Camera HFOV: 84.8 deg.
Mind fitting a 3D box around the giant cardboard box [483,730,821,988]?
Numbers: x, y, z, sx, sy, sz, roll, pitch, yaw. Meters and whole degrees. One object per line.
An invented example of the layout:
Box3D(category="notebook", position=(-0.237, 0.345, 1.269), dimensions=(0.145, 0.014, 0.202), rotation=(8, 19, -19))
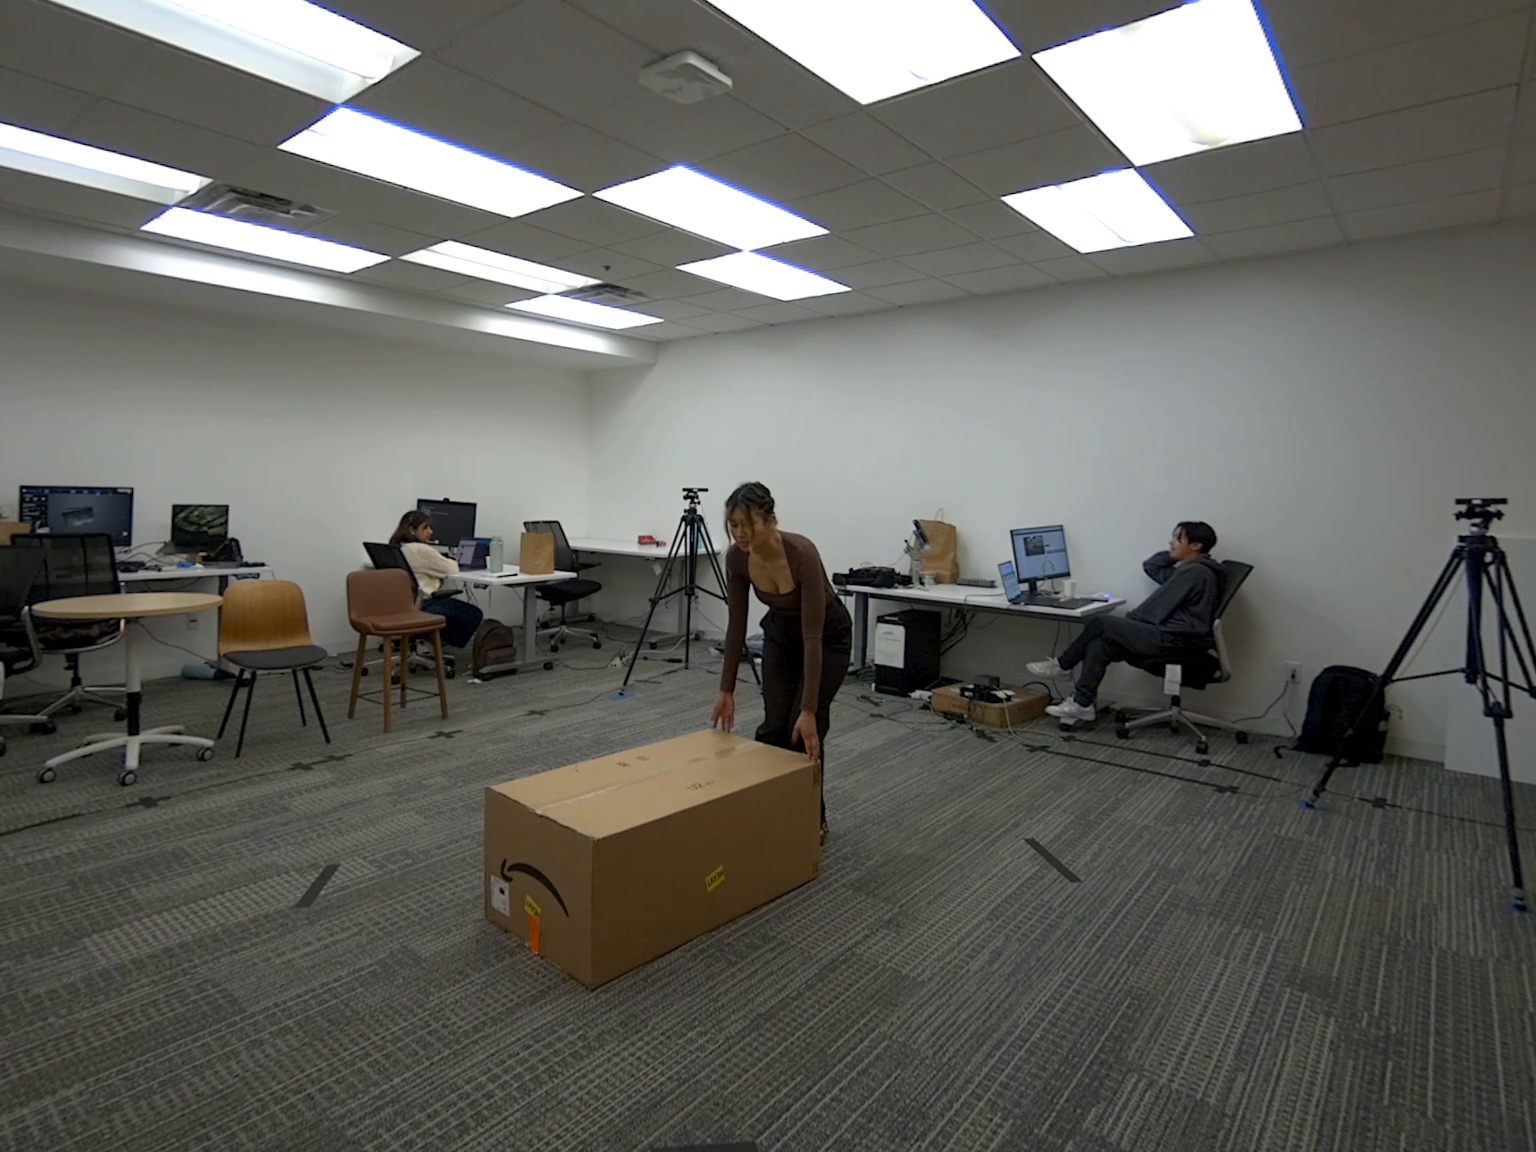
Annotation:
Box3D(category="giant cardboard box", position=(-0.371, 0.880, 2.882), dimensions=(0.604, 0.445, 0.997), rotation=(7, 8, 43))
